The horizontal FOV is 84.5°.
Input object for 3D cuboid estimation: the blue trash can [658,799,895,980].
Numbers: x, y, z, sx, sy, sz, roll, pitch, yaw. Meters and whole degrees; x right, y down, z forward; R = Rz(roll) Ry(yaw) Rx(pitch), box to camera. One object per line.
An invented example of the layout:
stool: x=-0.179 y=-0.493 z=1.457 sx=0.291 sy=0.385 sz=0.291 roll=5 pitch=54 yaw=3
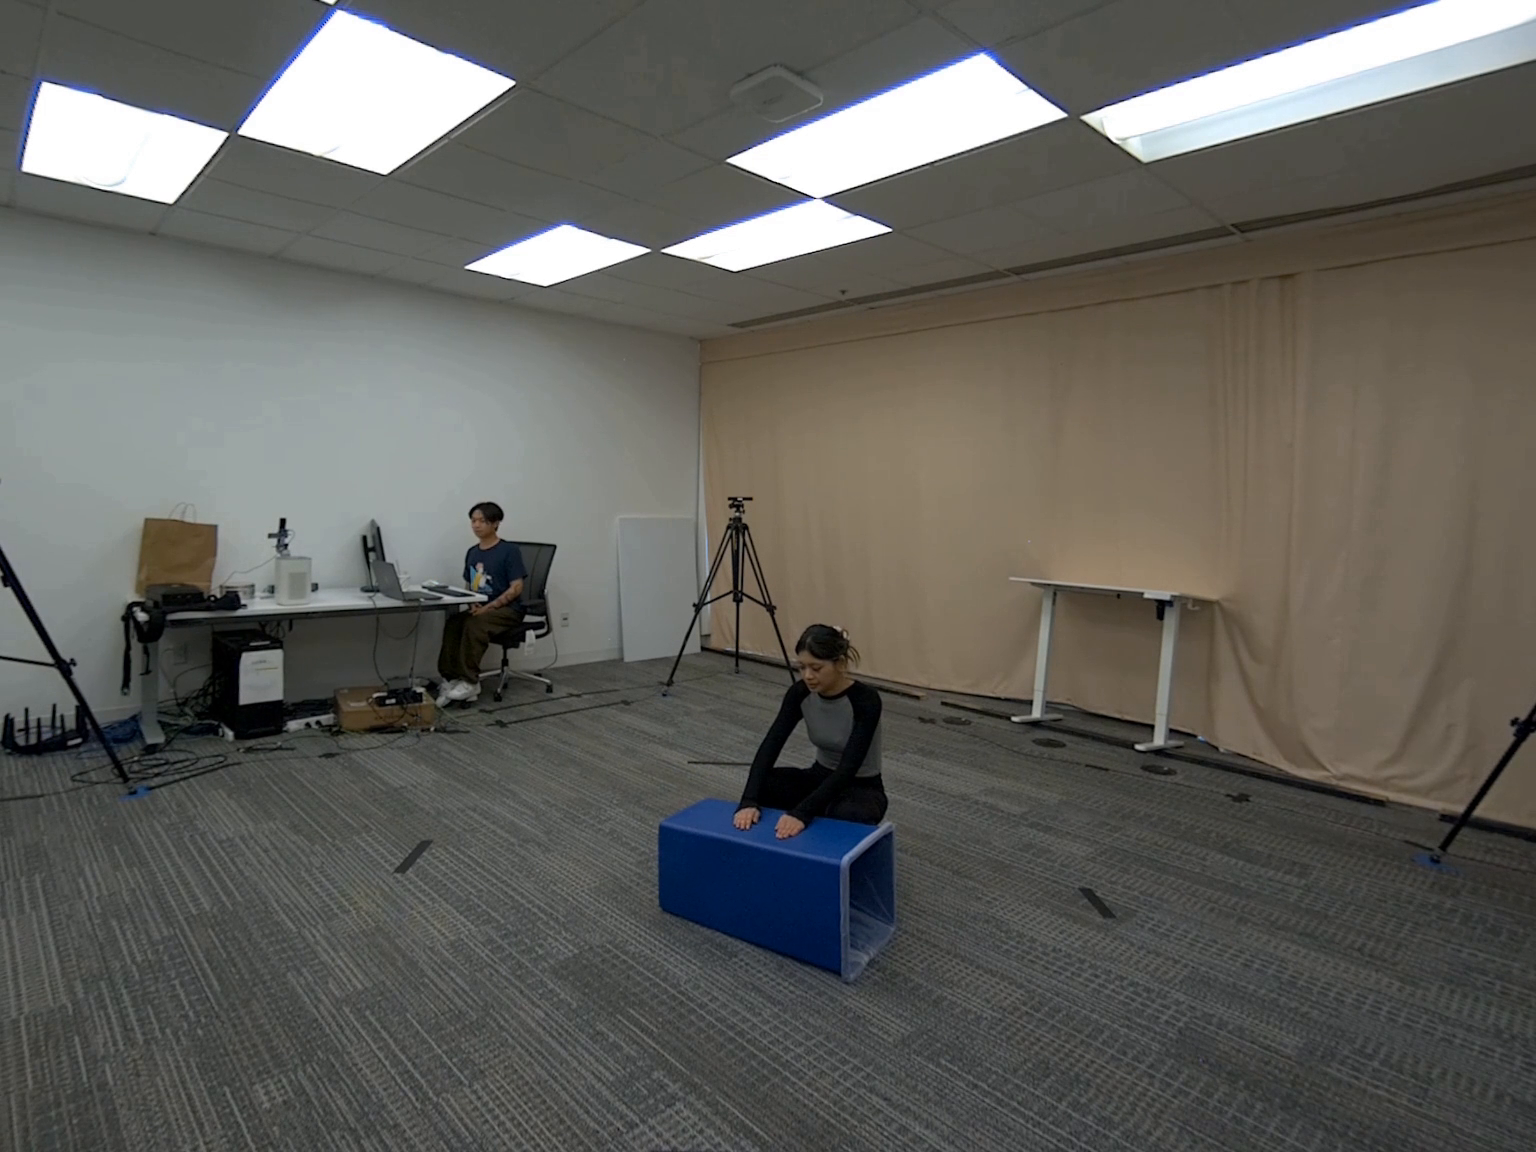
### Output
blue trash can: x=0.009 y=0.977 z=2.757 sx=0.729 sy=0.377 sz=0.367 roll=1 pitch=4 yaw=32
